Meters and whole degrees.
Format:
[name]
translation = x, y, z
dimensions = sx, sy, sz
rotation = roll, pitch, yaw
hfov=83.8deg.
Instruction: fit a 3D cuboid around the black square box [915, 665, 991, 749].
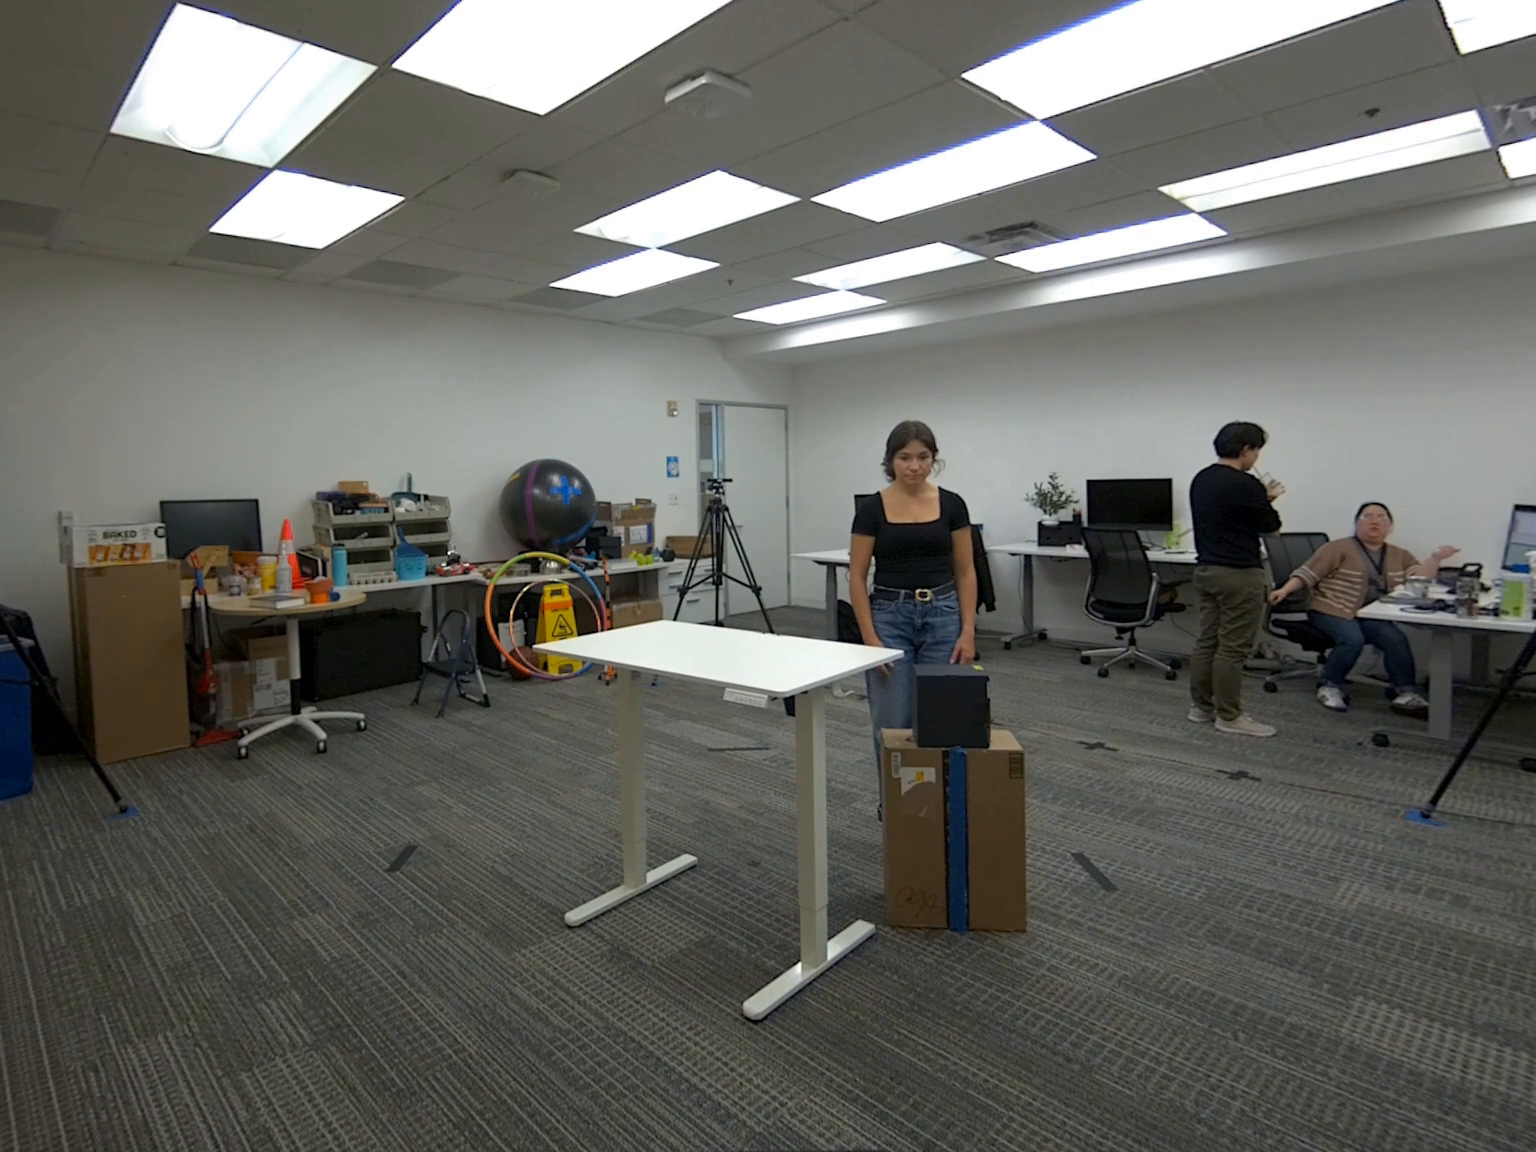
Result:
[black square box]
translation = 0.560, 0.396, 2.668
dimensions = 0.218, 0.227, 0.156
rotation = 1, 6, 5
